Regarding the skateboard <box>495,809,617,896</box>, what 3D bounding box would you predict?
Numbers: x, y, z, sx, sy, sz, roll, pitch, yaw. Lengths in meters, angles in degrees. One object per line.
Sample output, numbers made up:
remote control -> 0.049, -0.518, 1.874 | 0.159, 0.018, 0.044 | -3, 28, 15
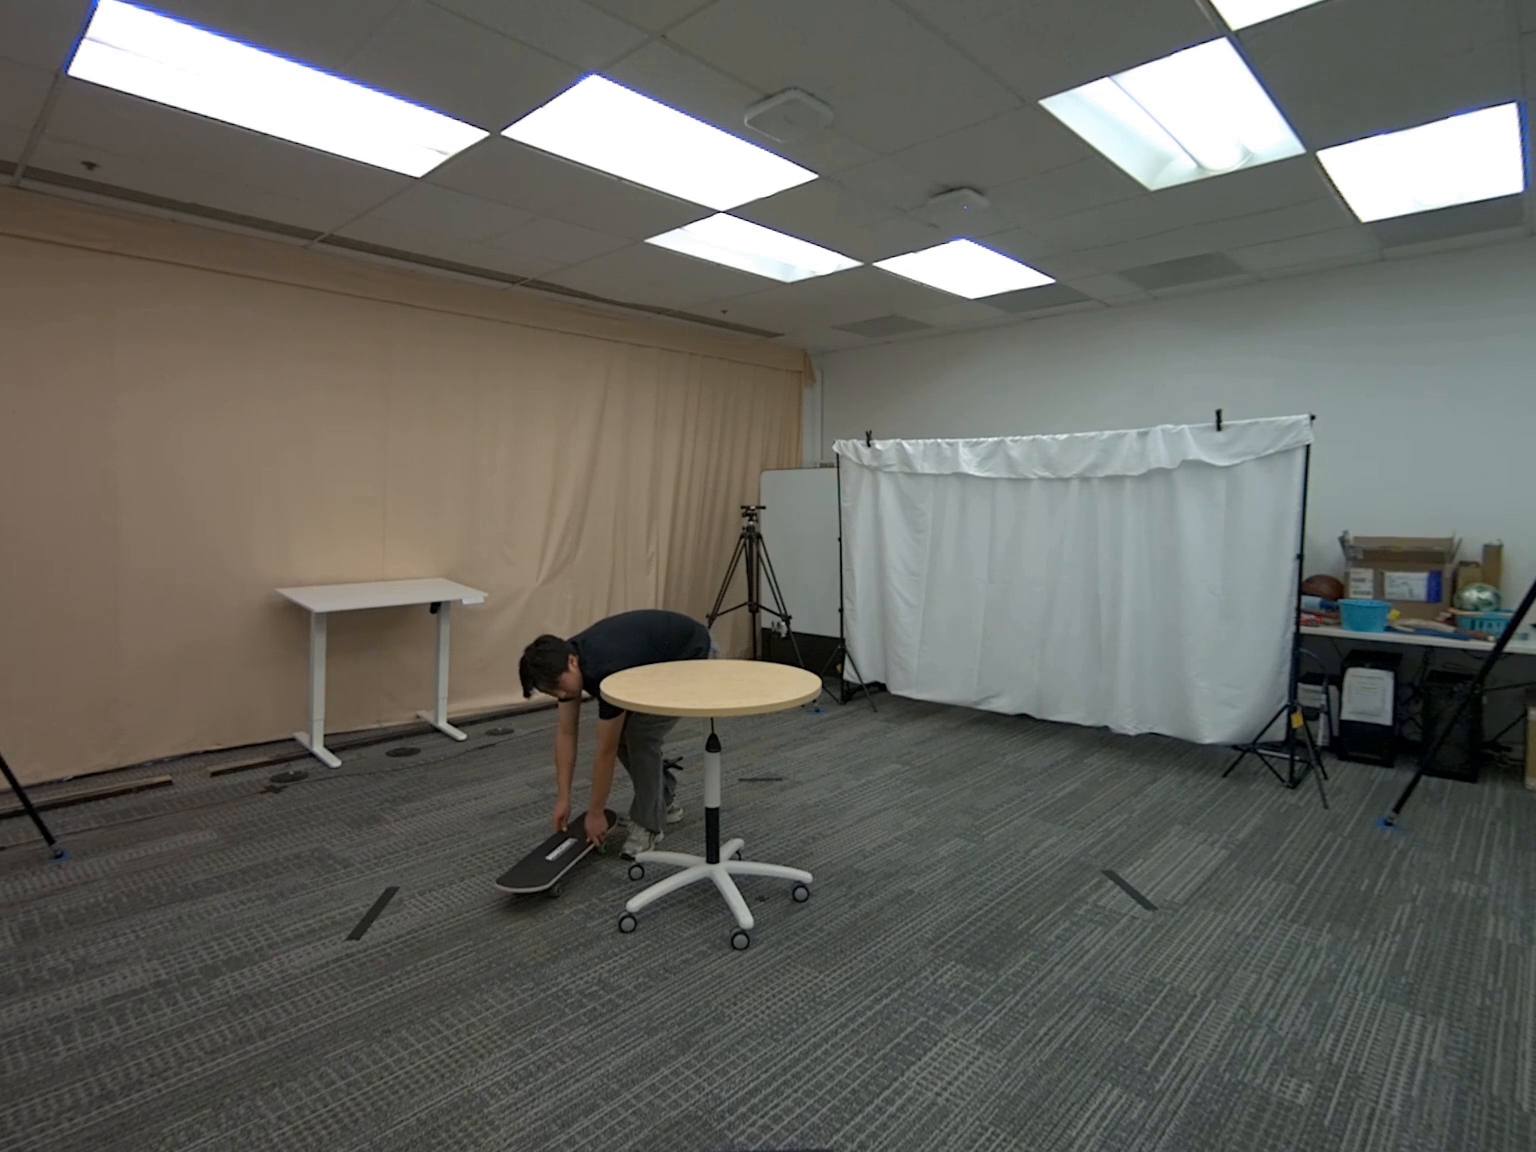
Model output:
skateboard -> -0.785, 1.074, 3.219 | 0.197, 0.110, 0.772 | 1, 5, 16
